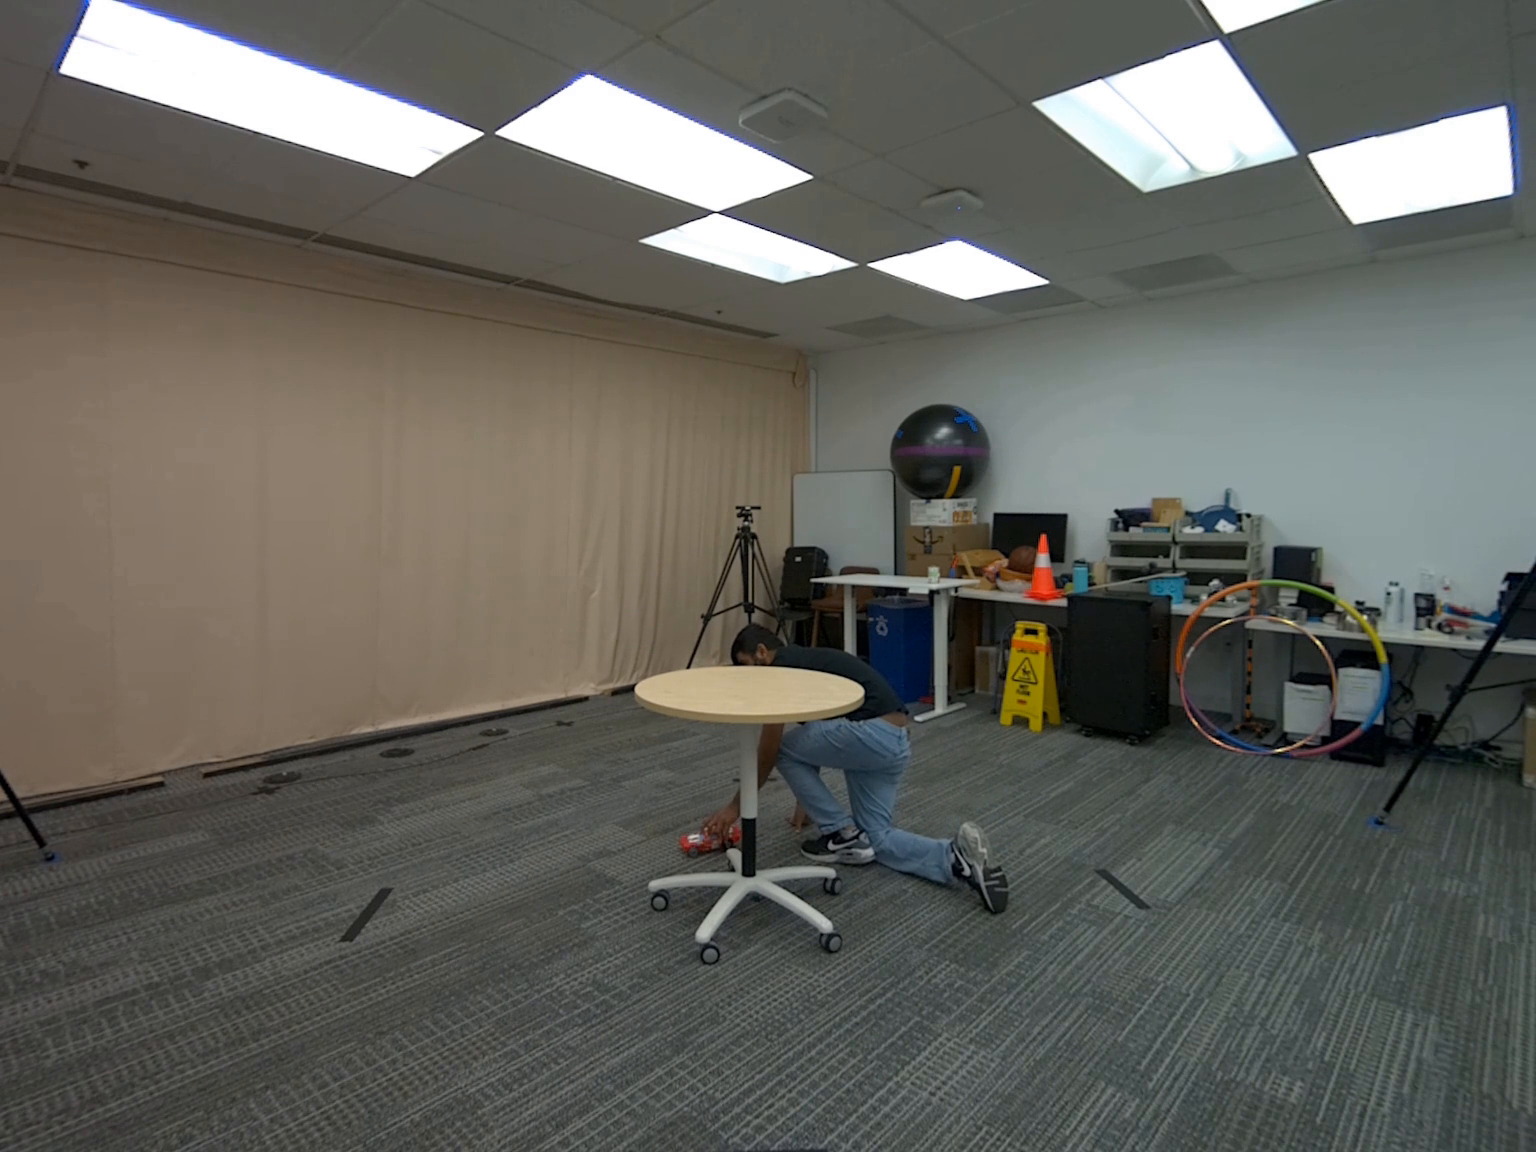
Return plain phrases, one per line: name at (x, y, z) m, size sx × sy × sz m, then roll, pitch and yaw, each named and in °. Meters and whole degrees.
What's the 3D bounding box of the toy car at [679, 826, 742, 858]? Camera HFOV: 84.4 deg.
toy car at (-0.227, 1.073, 3.437) m, size 0.251 × 0.082 × 0.133 m, roll -15°, pitch 10°, yaw -16°
